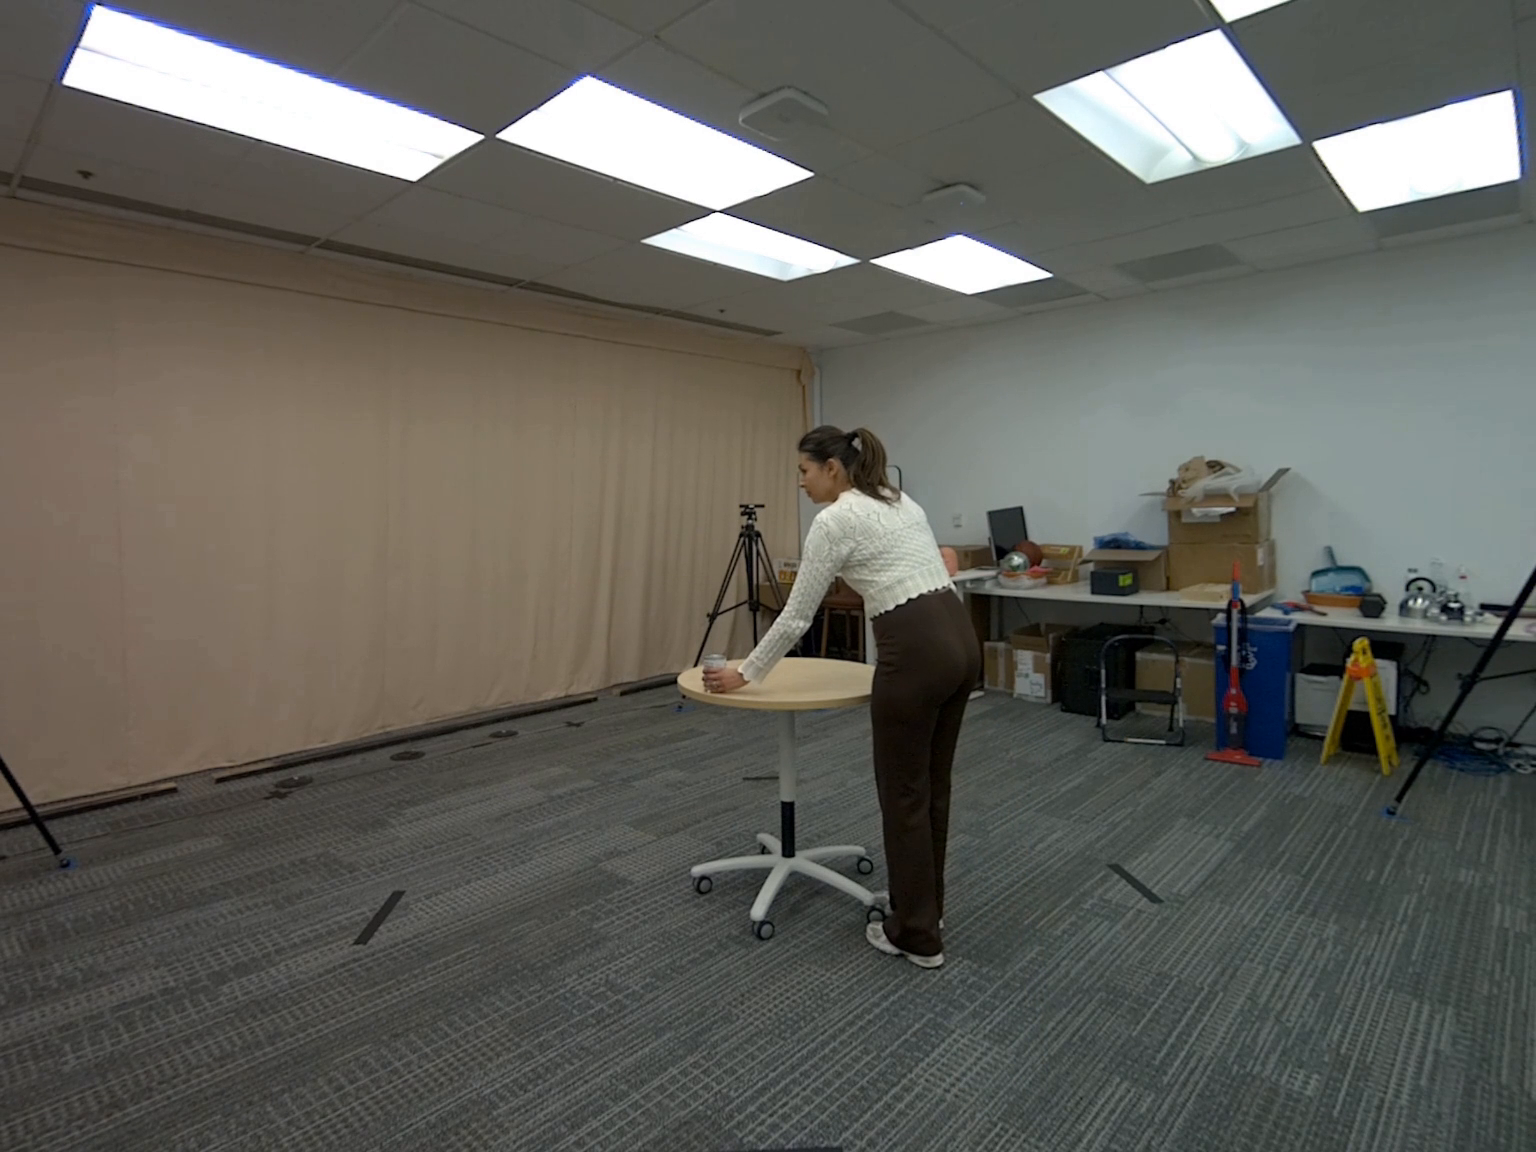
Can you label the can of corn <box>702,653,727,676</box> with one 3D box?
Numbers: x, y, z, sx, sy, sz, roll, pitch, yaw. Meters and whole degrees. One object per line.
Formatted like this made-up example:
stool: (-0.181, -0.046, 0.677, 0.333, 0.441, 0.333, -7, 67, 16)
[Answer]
can of corn: (-0.174, 0.322, 2.754, 0.074, 0.111, 0.074, -1, 3, -2)
